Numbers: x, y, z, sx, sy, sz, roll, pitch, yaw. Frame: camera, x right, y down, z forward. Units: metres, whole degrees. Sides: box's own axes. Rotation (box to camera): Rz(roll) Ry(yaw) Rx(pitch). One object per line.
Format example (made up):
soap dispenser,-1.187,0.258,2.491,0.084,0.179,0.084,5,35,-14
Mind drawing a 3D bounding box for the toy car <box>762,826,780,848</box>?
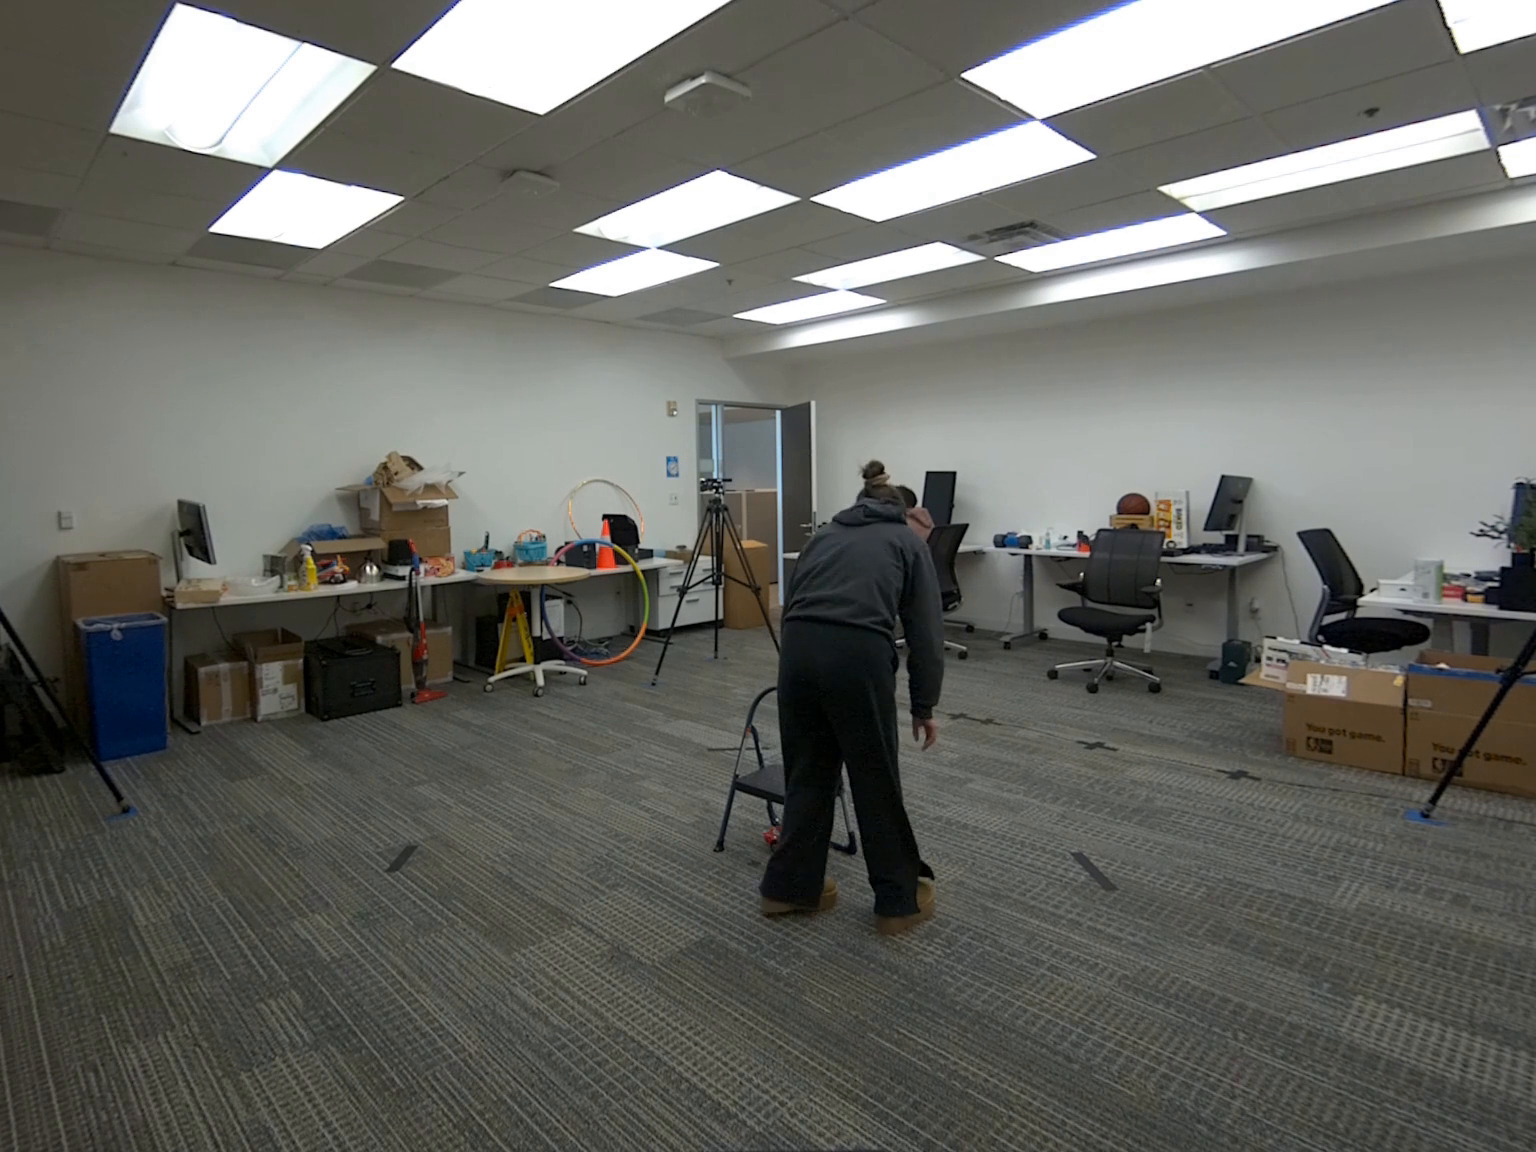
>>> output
toy car,0.105,1.001,3.186,0.263,0.082,0.127,16,15,36
